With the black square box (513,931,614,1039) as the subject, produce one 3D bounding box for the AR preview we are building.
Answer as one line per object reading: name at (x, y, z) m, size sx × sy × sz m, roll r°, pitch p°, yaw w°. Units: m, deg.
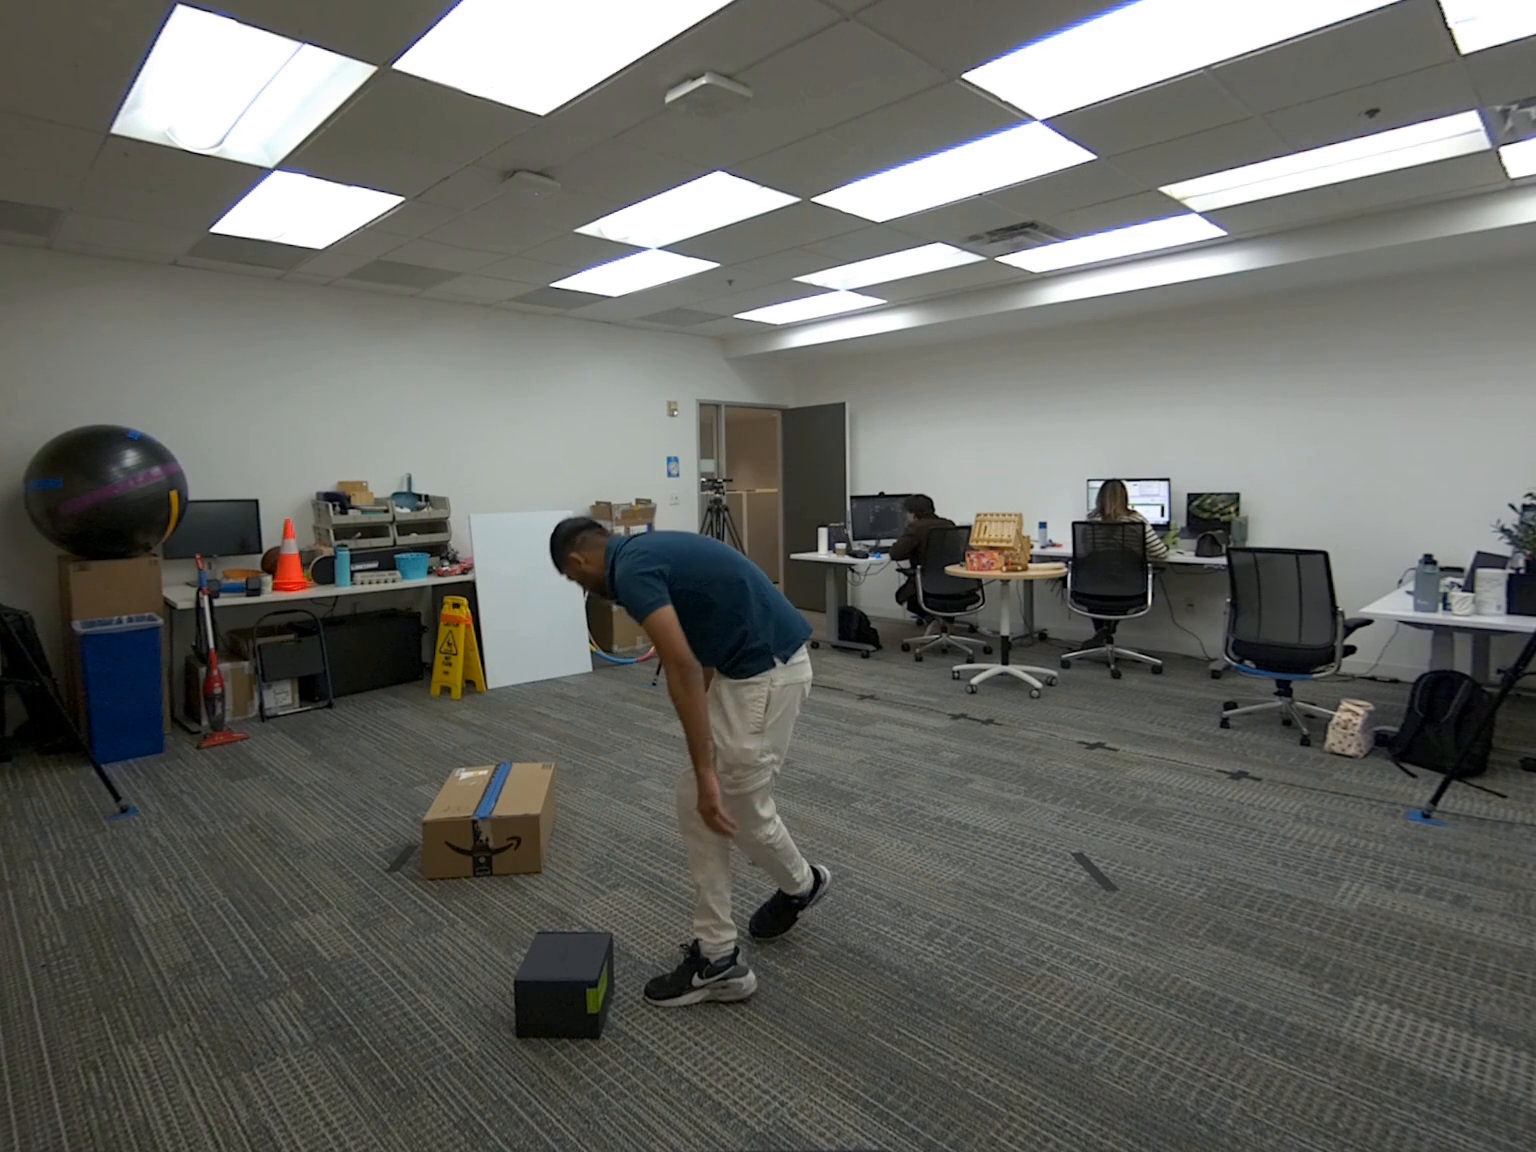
black square box at (-0.527, 1.067, 2.257) m, size 0.217 × 0.155 × 0.229 m, roll 0°, pitch 6°, yaw 0°
